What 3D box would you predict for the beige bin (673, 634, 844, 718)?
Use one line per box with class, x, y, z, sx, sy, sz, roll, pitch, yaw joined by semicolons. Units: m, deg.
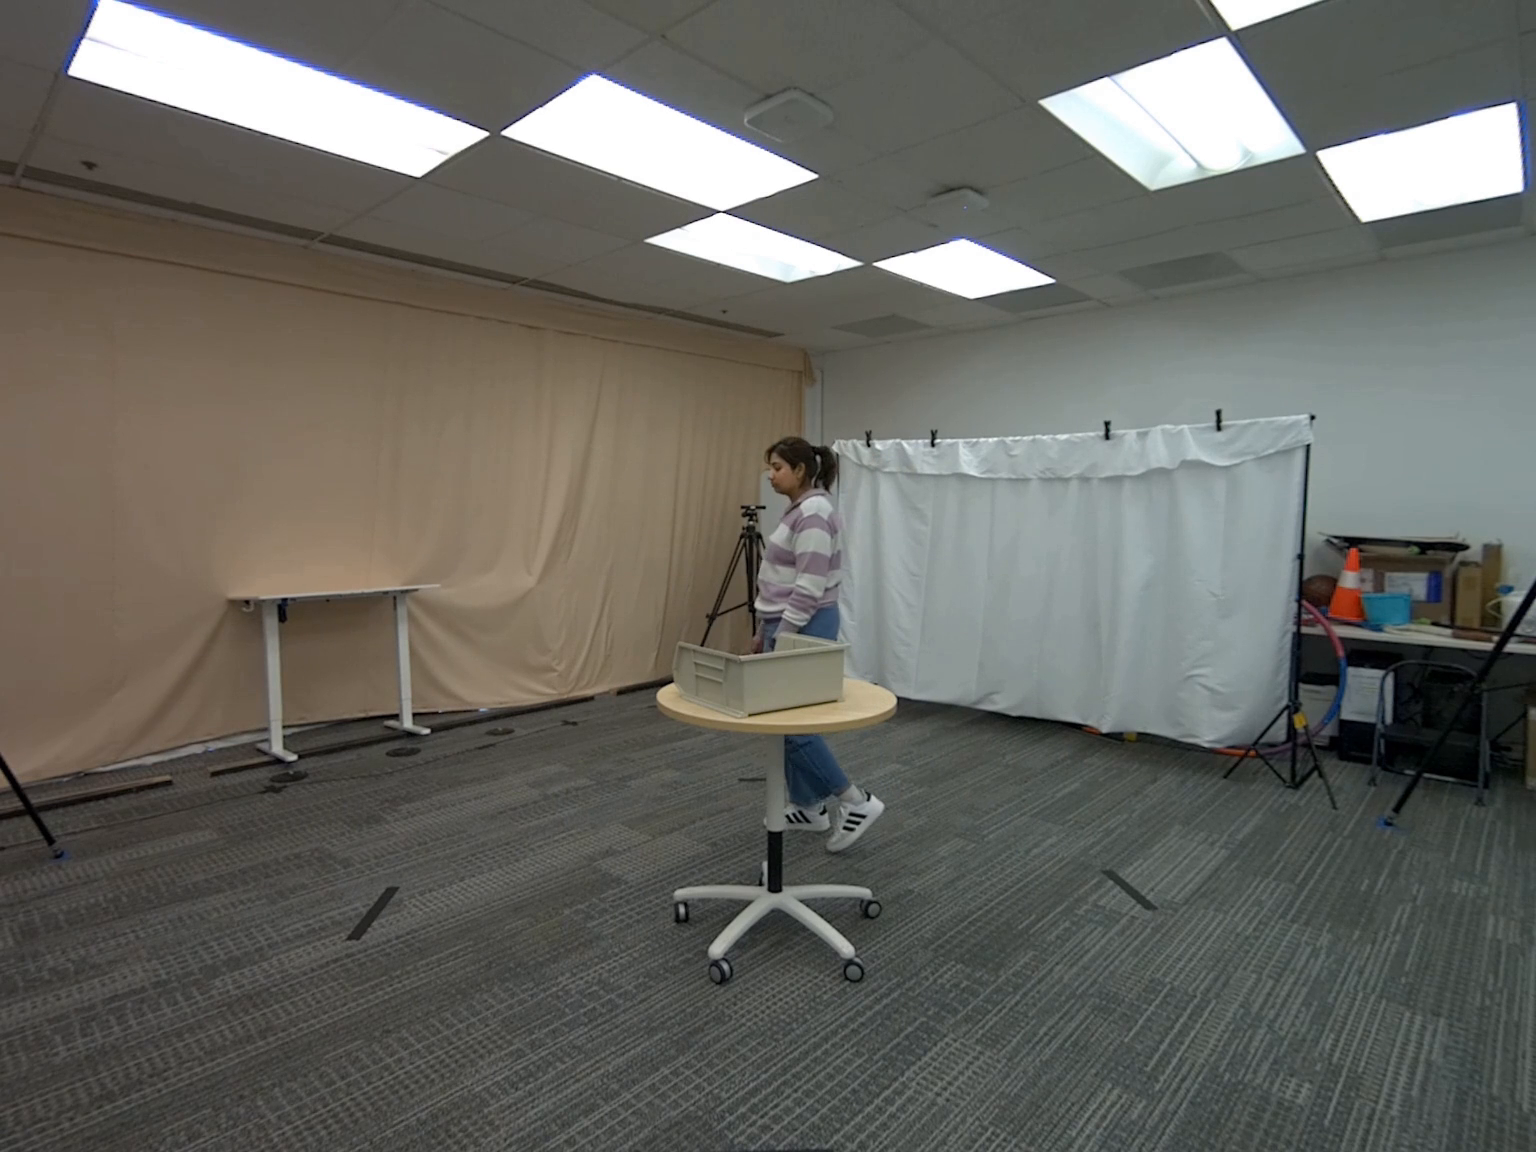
beige bin;-0.027;0.299;2.649;0.410;0.188;0.389;-2;6;-35
